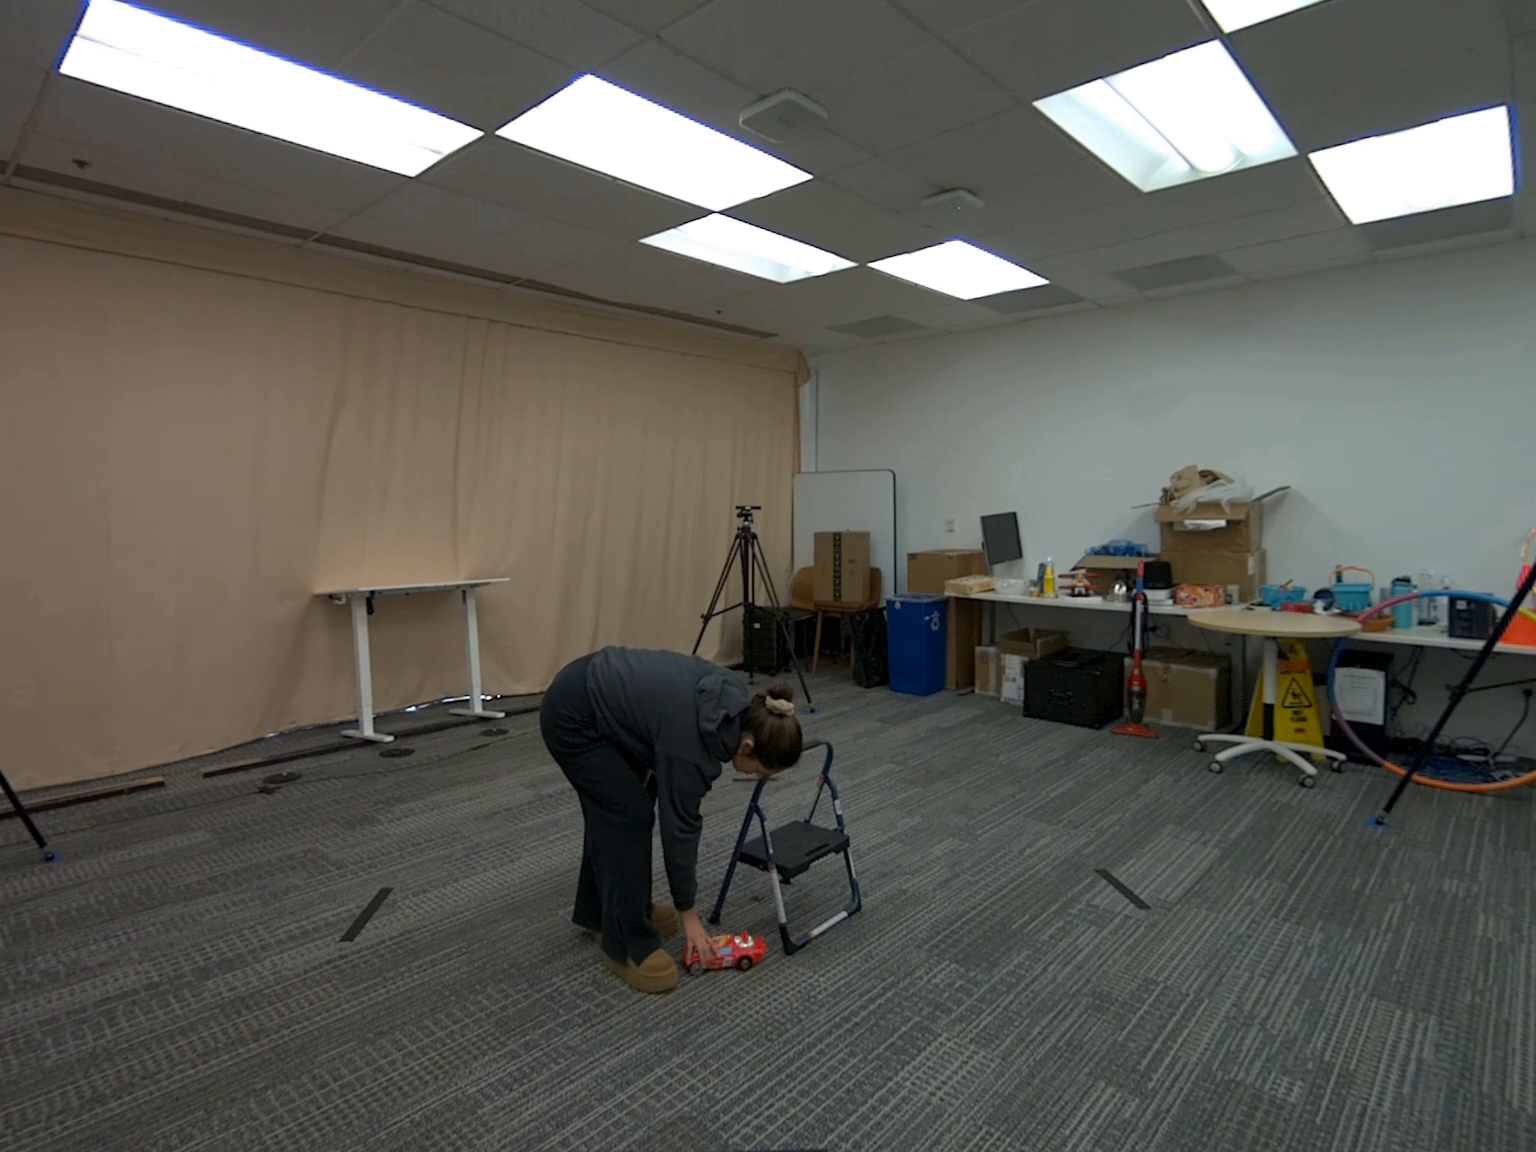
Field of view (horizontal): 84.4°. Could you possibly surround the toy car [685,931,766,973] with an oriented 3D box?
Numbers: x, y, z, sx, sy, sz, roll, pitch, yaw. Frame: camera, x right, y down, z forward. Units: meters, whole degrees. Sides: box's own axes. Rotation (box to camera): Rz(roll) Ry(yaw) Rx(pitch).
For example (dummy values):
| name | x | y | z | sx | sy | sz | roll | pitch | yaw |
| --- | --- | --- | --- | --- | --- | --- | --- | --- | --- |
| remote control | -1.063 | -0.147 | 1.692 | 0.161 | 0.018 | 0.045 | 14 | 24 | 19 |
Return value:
| name | x | y | z | sx | sy | sz | roll | pitch | yaw |
| --- | --- | --- | --- | --- | --- | --- | --- | --- | --- |
| toy car | -0.104 | 1.152 | 2.564 | 0.252 | 0.083 | 0.132 | -13 | 6 | -9 |
